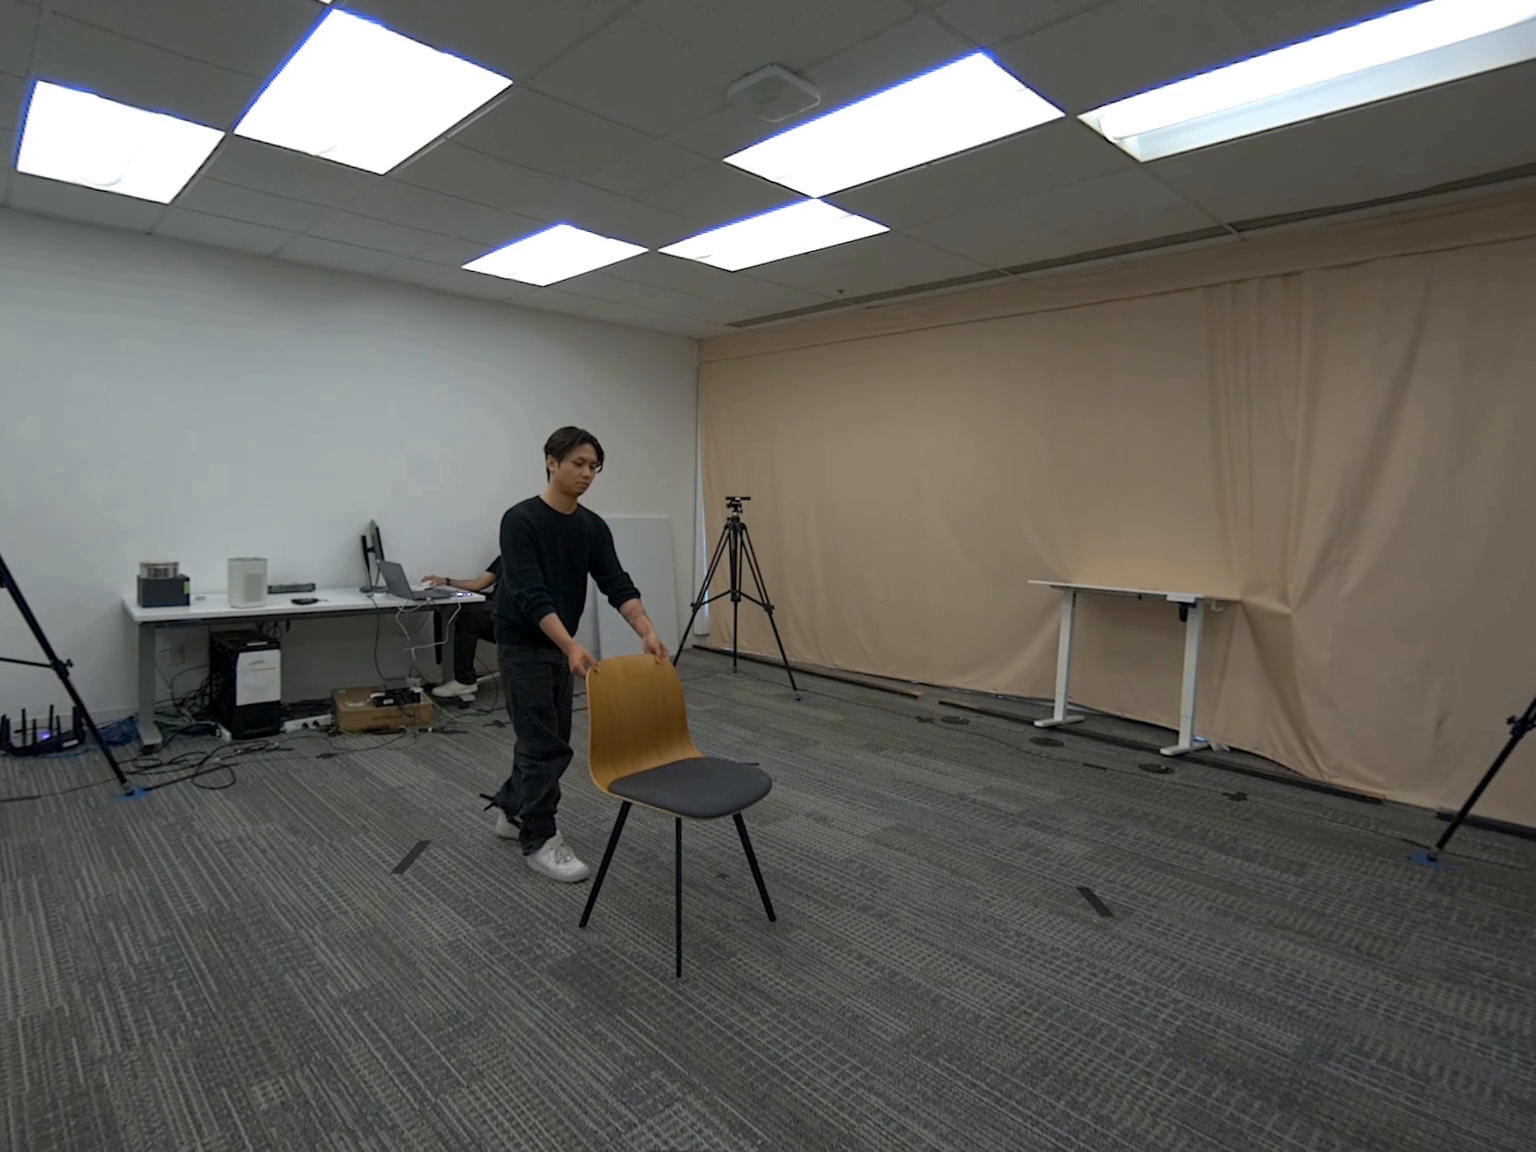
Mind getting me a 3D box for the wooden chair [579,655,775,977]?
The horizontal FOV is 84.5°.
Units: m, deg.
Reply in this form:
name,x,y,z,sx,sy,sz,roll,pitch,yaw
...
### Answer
name,x,y,z,sx,sy,sz,roll,pitch,yaw
wooden chair,-0.291,0.705,2.704,0.534,0.878,0.467,-4,-2,41
